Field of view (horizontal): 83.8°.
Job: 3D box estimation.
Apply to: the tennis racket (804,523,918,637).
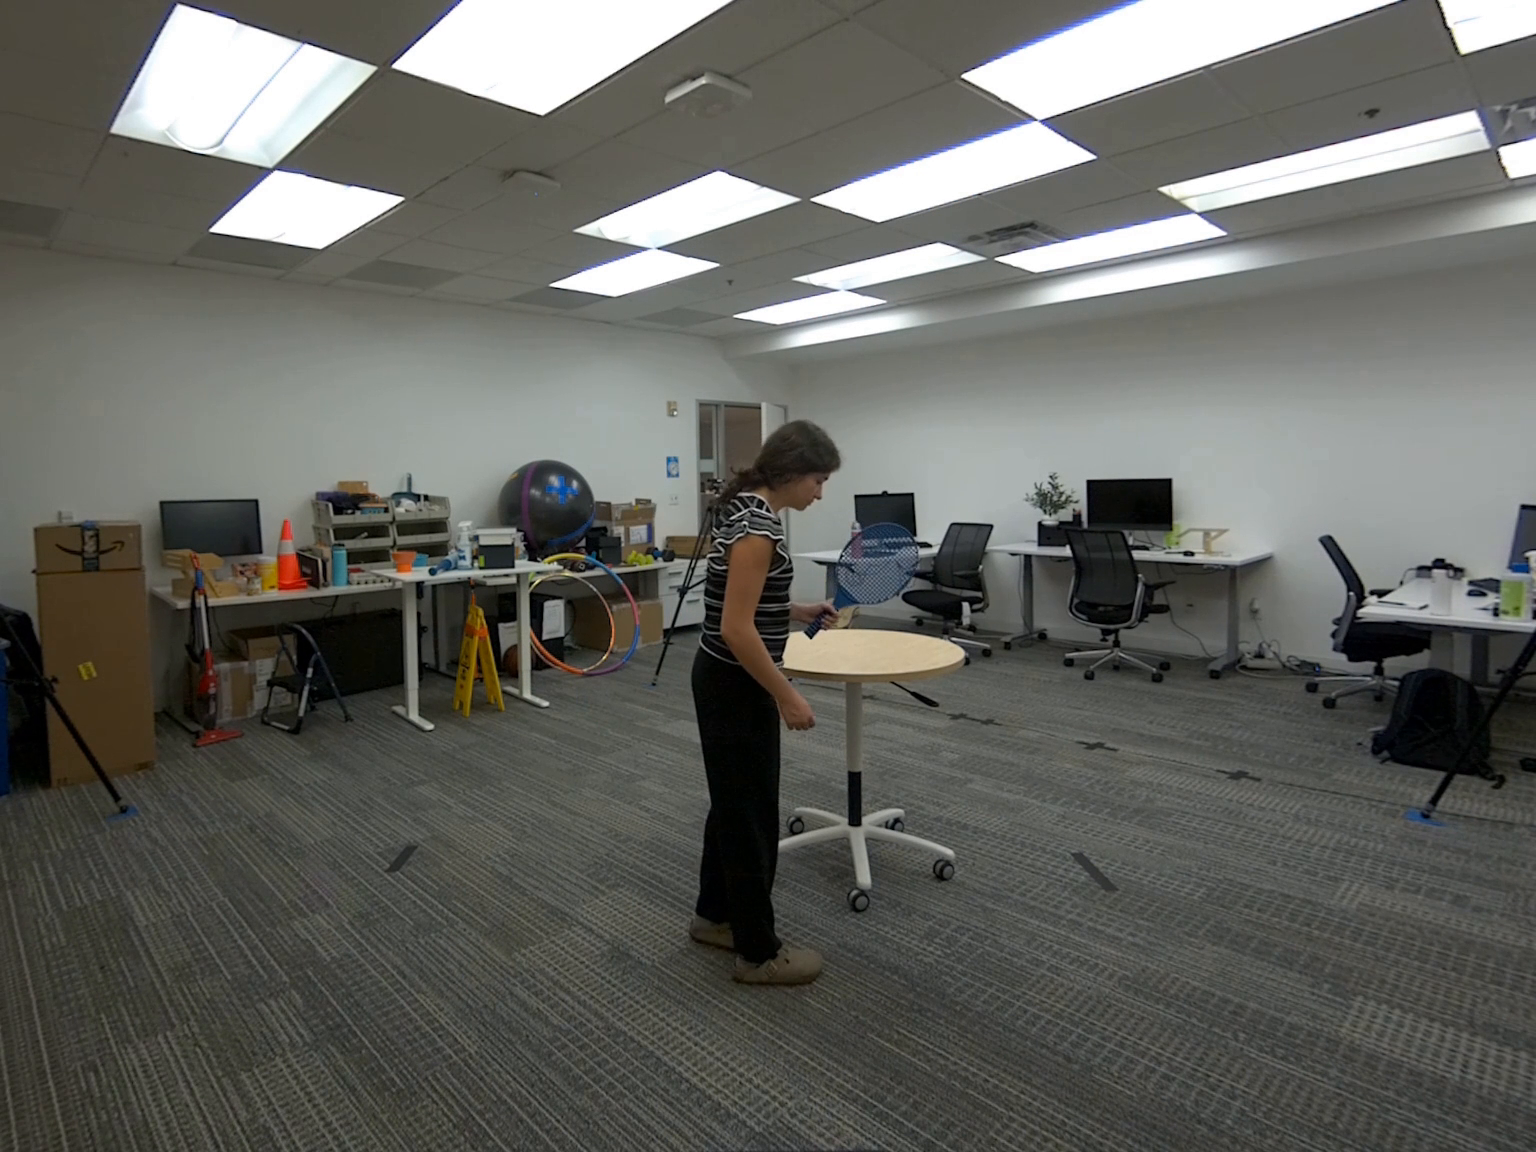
[{"bbox_3d":[0.279,0.031,2.540,0.216,0.433,0.031,42,-1,7],"label":"tennis racket"}]
